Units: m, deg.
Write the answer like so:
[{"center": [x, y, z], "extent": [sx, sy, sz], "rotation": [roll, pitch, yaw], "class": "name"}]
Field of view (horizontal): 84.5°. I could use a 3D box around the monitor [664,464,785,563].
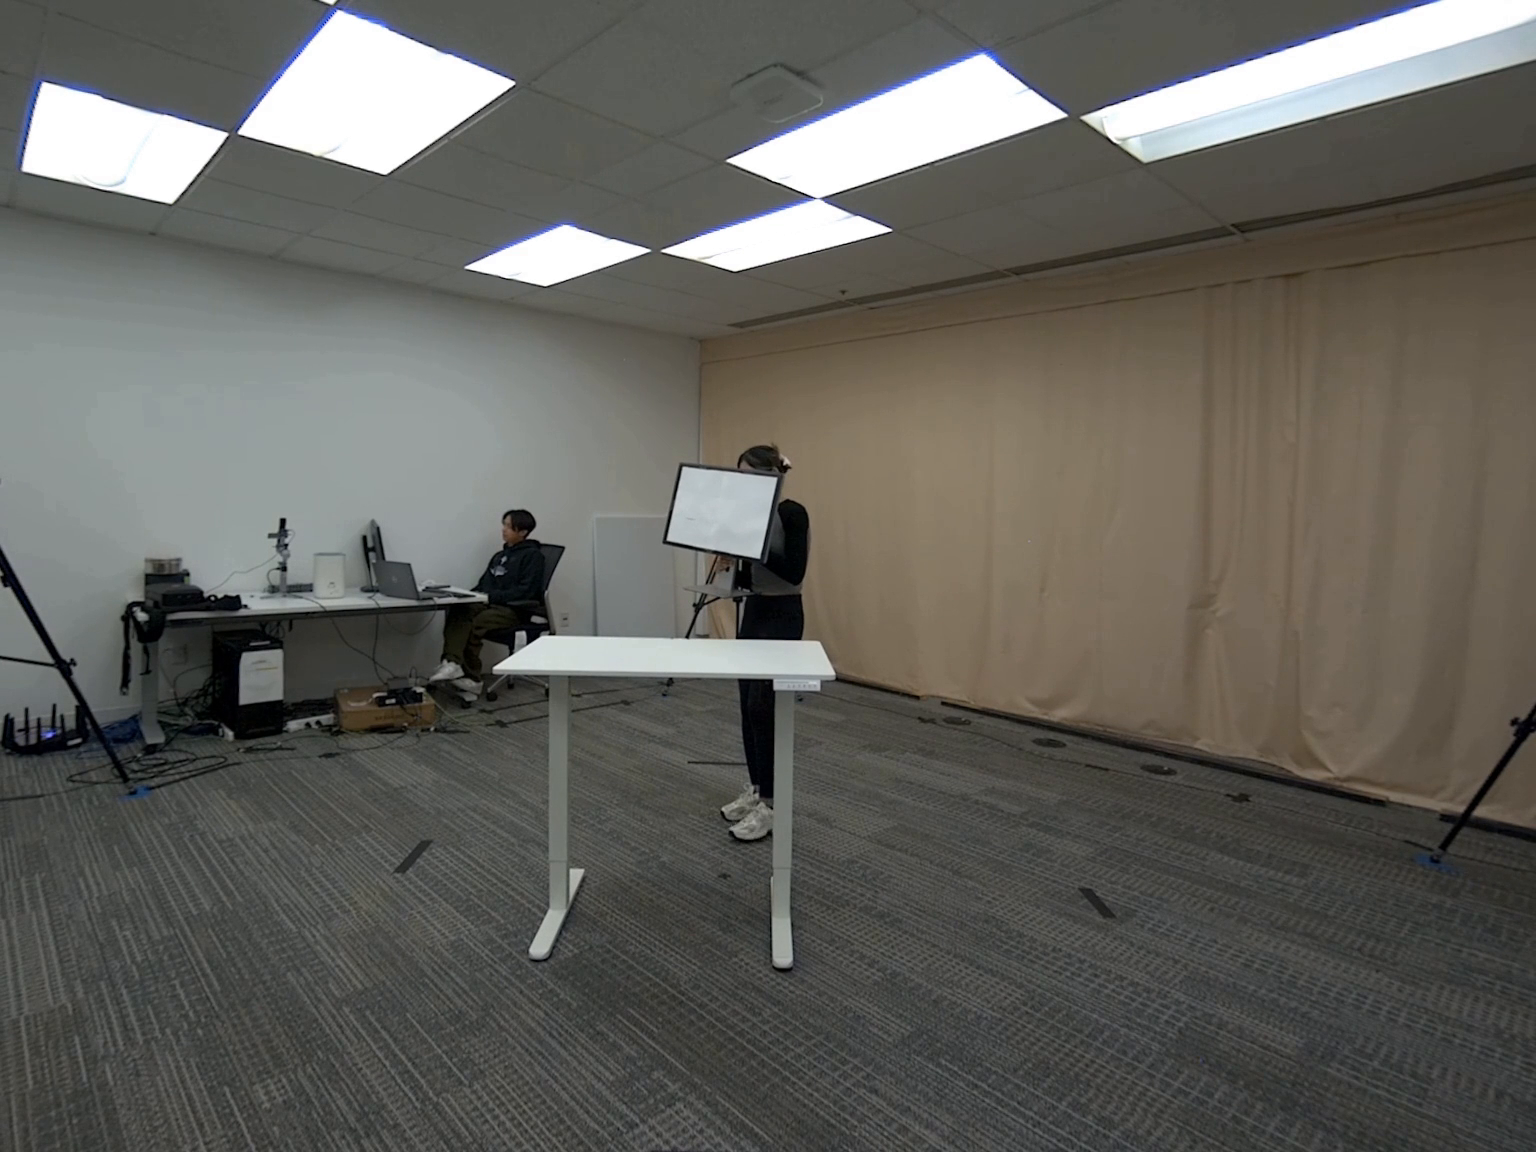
[{"center": [-0.196, -0.185, 3.501], "extent": [0.553, 0.520, 0.183], "rotation": [10, 7, 36], "class": "monitor"}]
